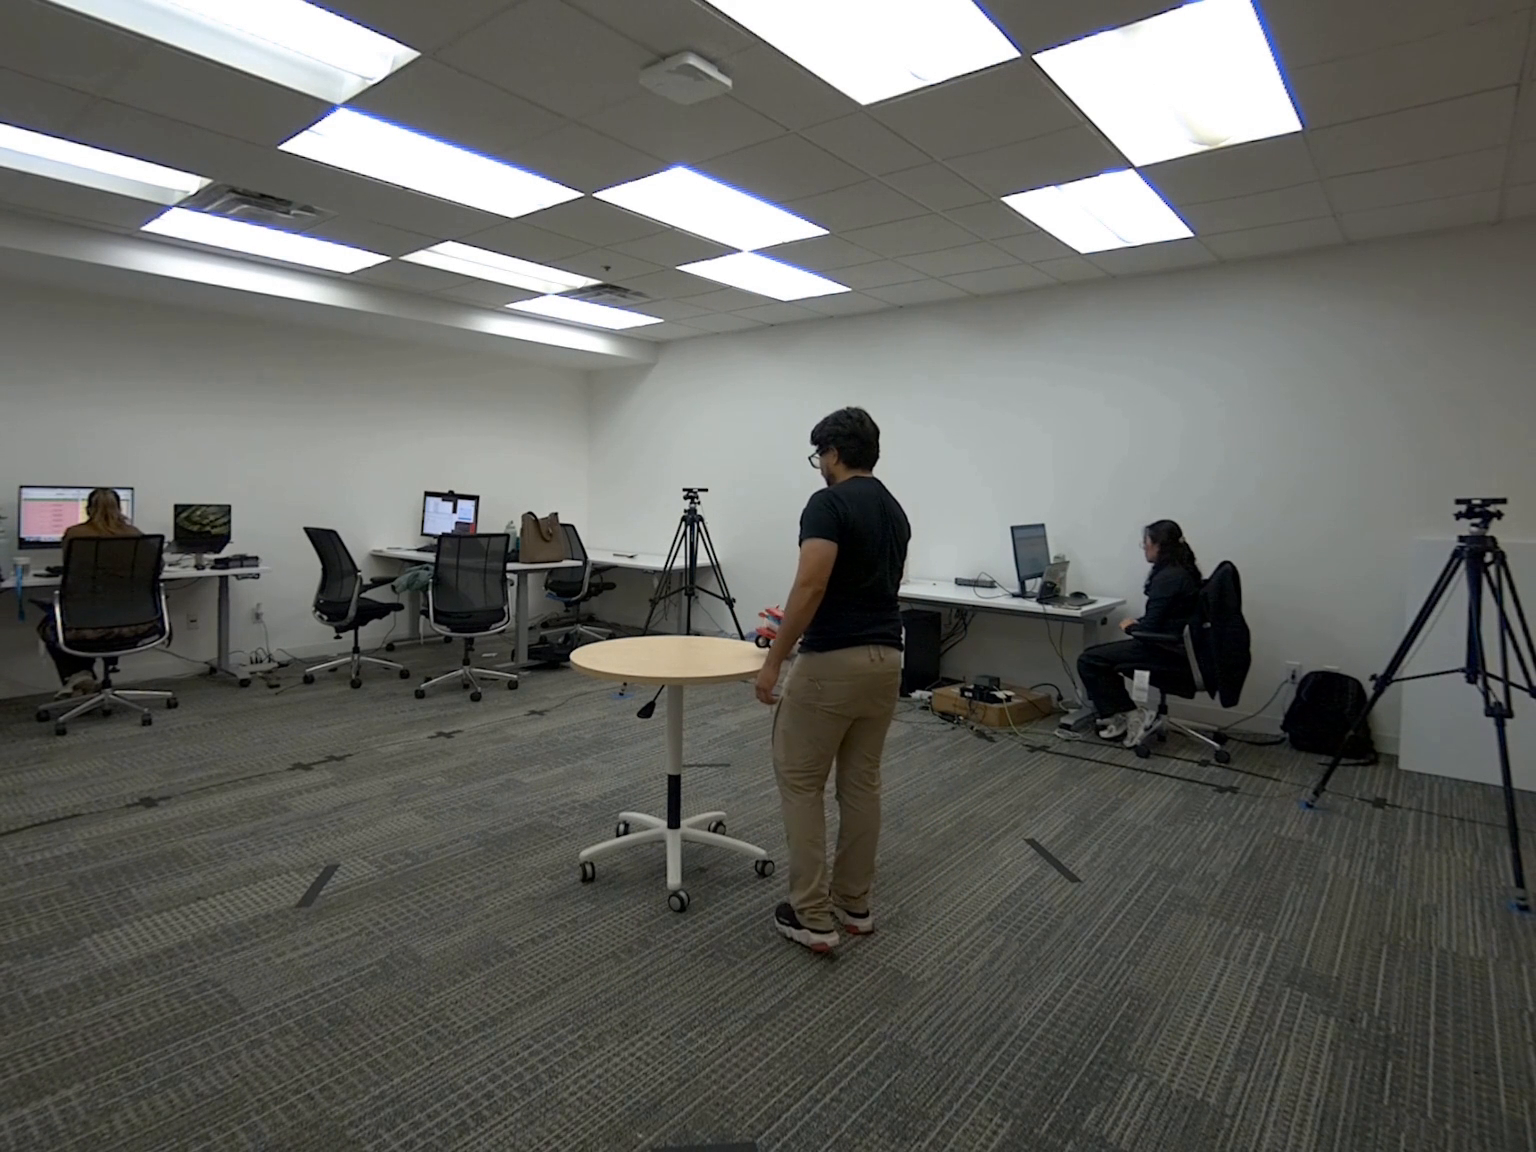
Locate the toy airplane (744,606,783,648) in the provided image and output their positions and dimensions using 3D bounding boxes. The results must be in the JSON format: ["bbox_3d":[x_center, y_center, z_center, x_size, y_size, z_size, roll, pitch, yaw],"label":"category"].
[{"bbox_3d":[0.078,0.211,3.127,0.261,0.157,0.249,11,-3,4],"label":"toy airplane"}]
